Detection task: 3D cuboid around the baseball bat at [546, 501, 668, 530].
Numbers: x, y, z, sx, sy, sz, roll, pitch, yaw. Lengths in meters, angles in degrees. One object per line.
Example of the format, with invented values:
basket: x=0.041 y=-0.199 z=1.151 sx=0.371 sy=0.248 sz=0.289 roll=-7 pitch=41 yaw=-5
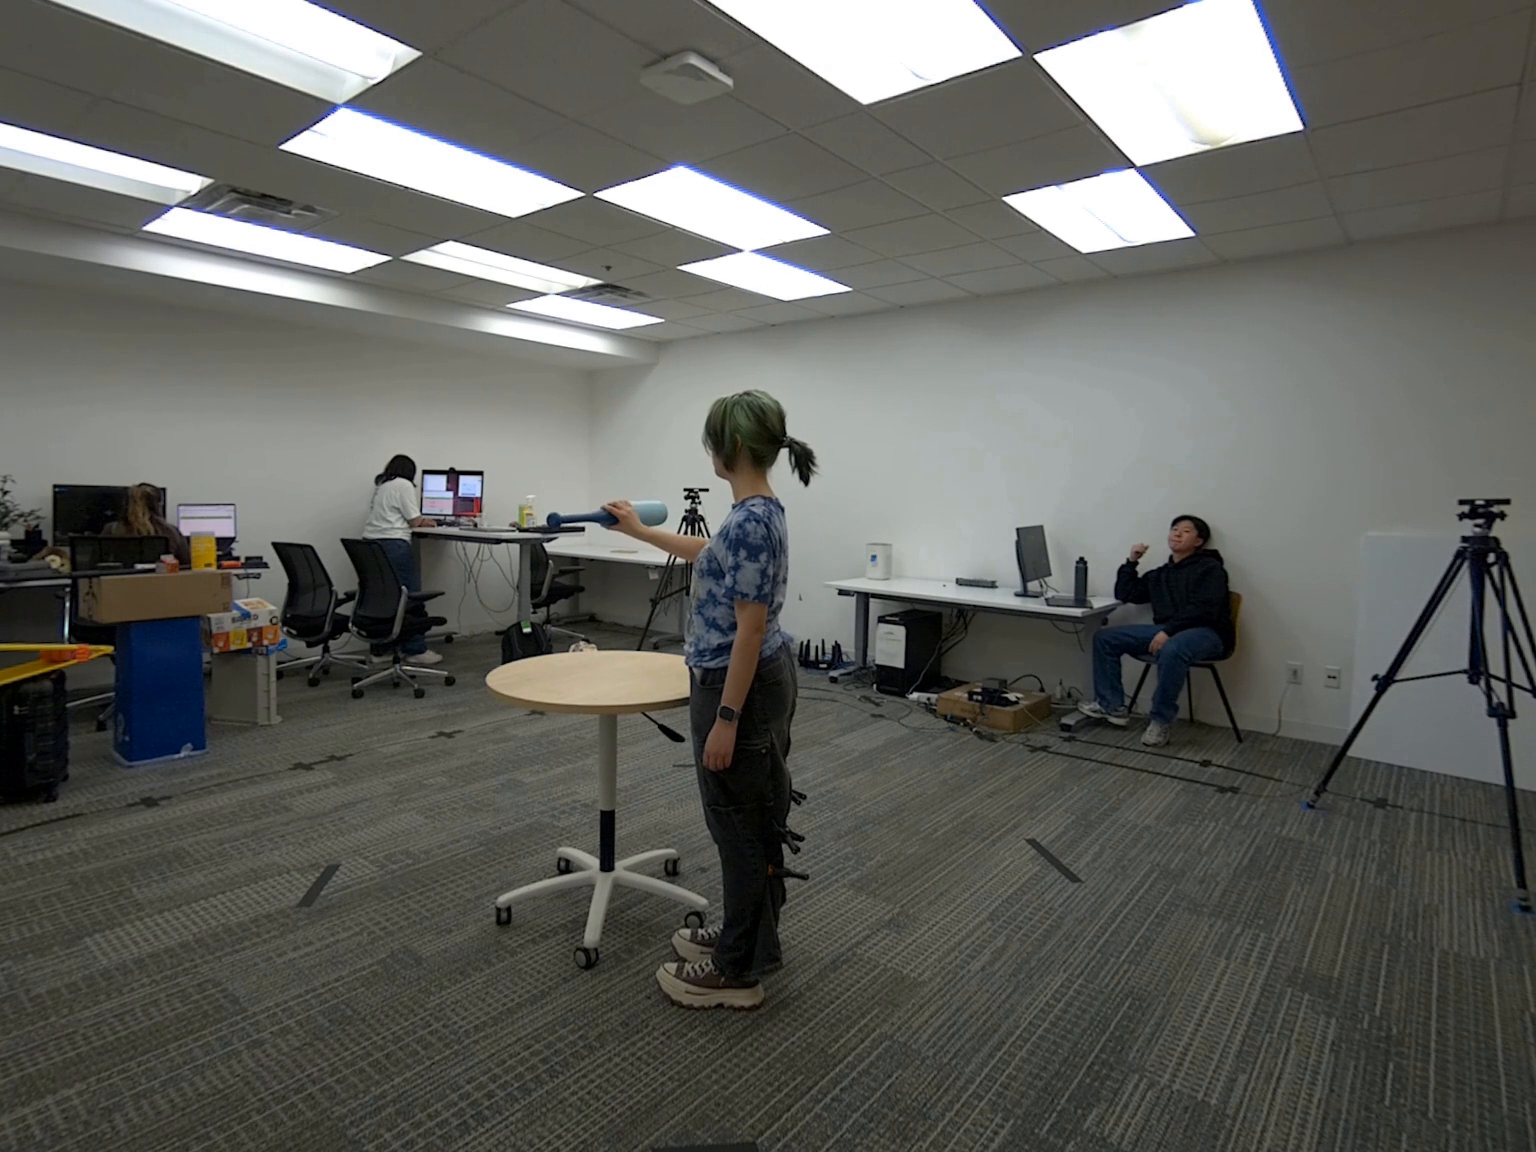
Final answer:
baseball bat: x=-0.513 y=-0.190 z=2.654 sx=0.091 sy=0.088 sz=0.532 roll=3 pitch=8 yaw=25
